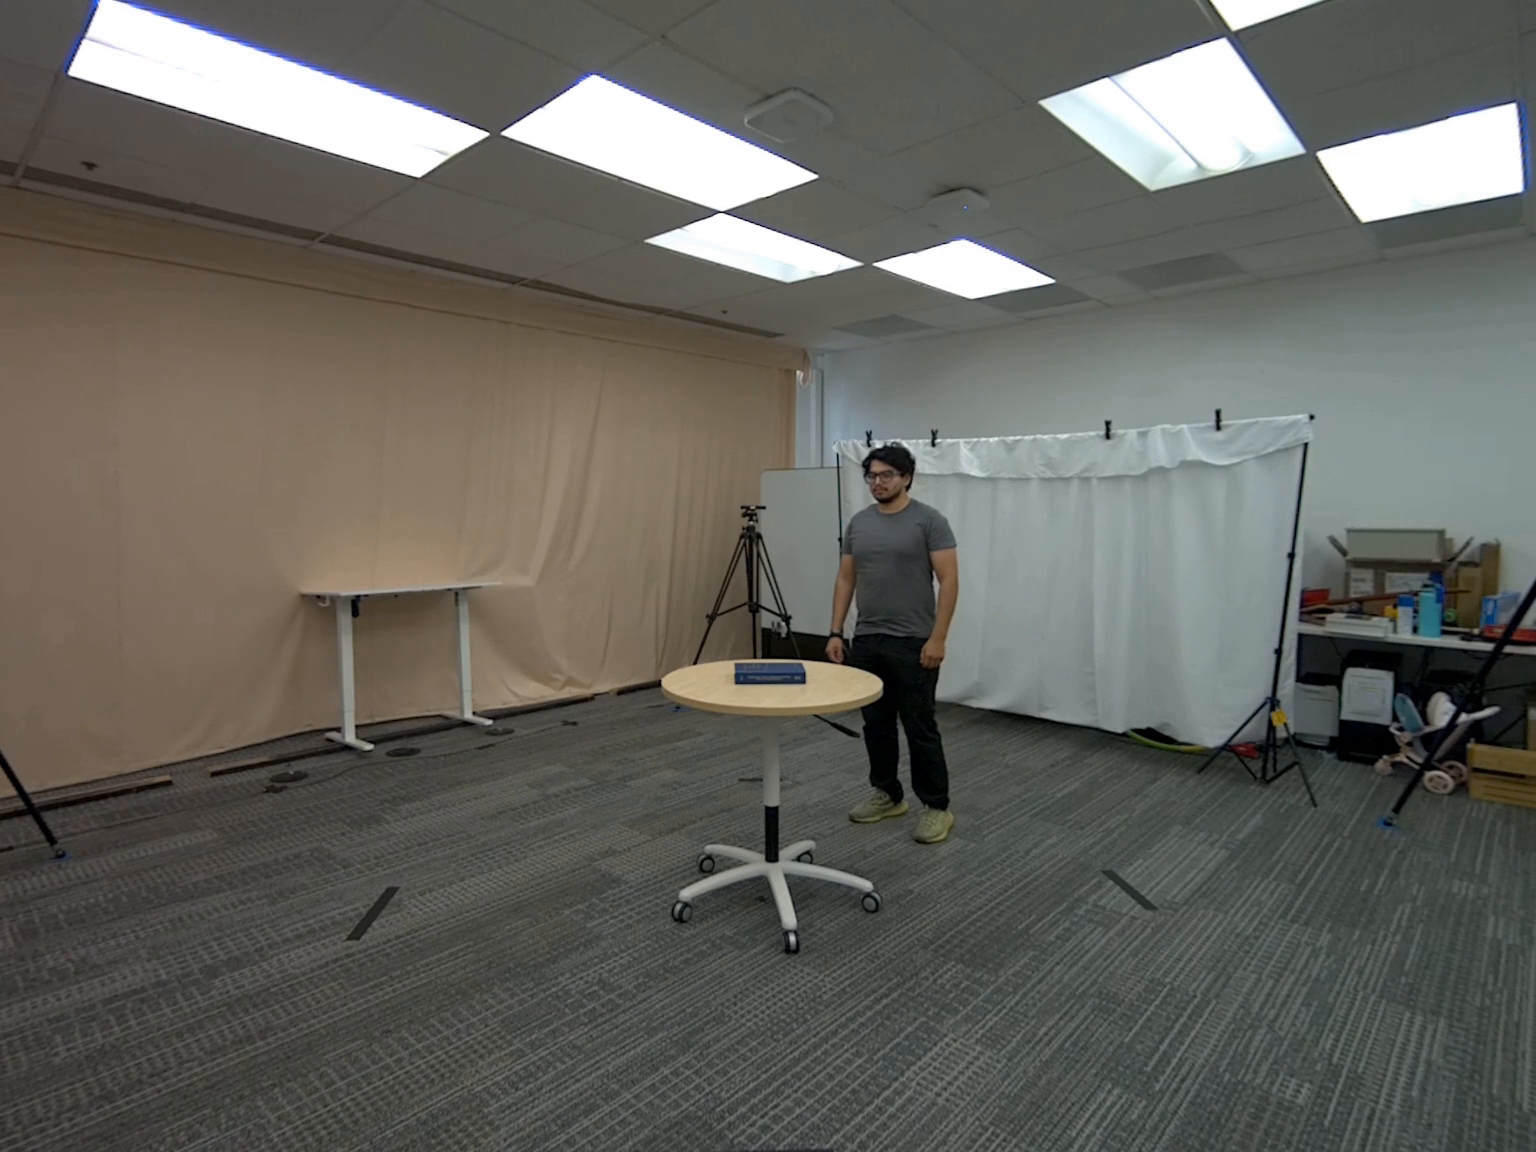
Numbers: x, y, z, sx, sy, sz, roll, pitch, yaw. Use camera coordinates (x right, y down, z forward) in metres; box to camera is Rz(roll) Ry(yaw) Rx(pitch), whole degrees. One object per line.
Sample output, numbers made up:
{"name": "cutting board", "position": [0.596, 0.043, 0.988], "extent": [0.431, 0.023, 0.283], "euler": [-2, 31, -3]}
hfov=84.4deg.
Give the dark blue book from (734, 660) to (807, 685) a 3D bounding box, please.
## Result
{"name": "dark blue book", "position": [0.007, 0.344, 2.945], "extent": [0.245, 0.045, 0.164], "euler": [0, 4, 0]}
